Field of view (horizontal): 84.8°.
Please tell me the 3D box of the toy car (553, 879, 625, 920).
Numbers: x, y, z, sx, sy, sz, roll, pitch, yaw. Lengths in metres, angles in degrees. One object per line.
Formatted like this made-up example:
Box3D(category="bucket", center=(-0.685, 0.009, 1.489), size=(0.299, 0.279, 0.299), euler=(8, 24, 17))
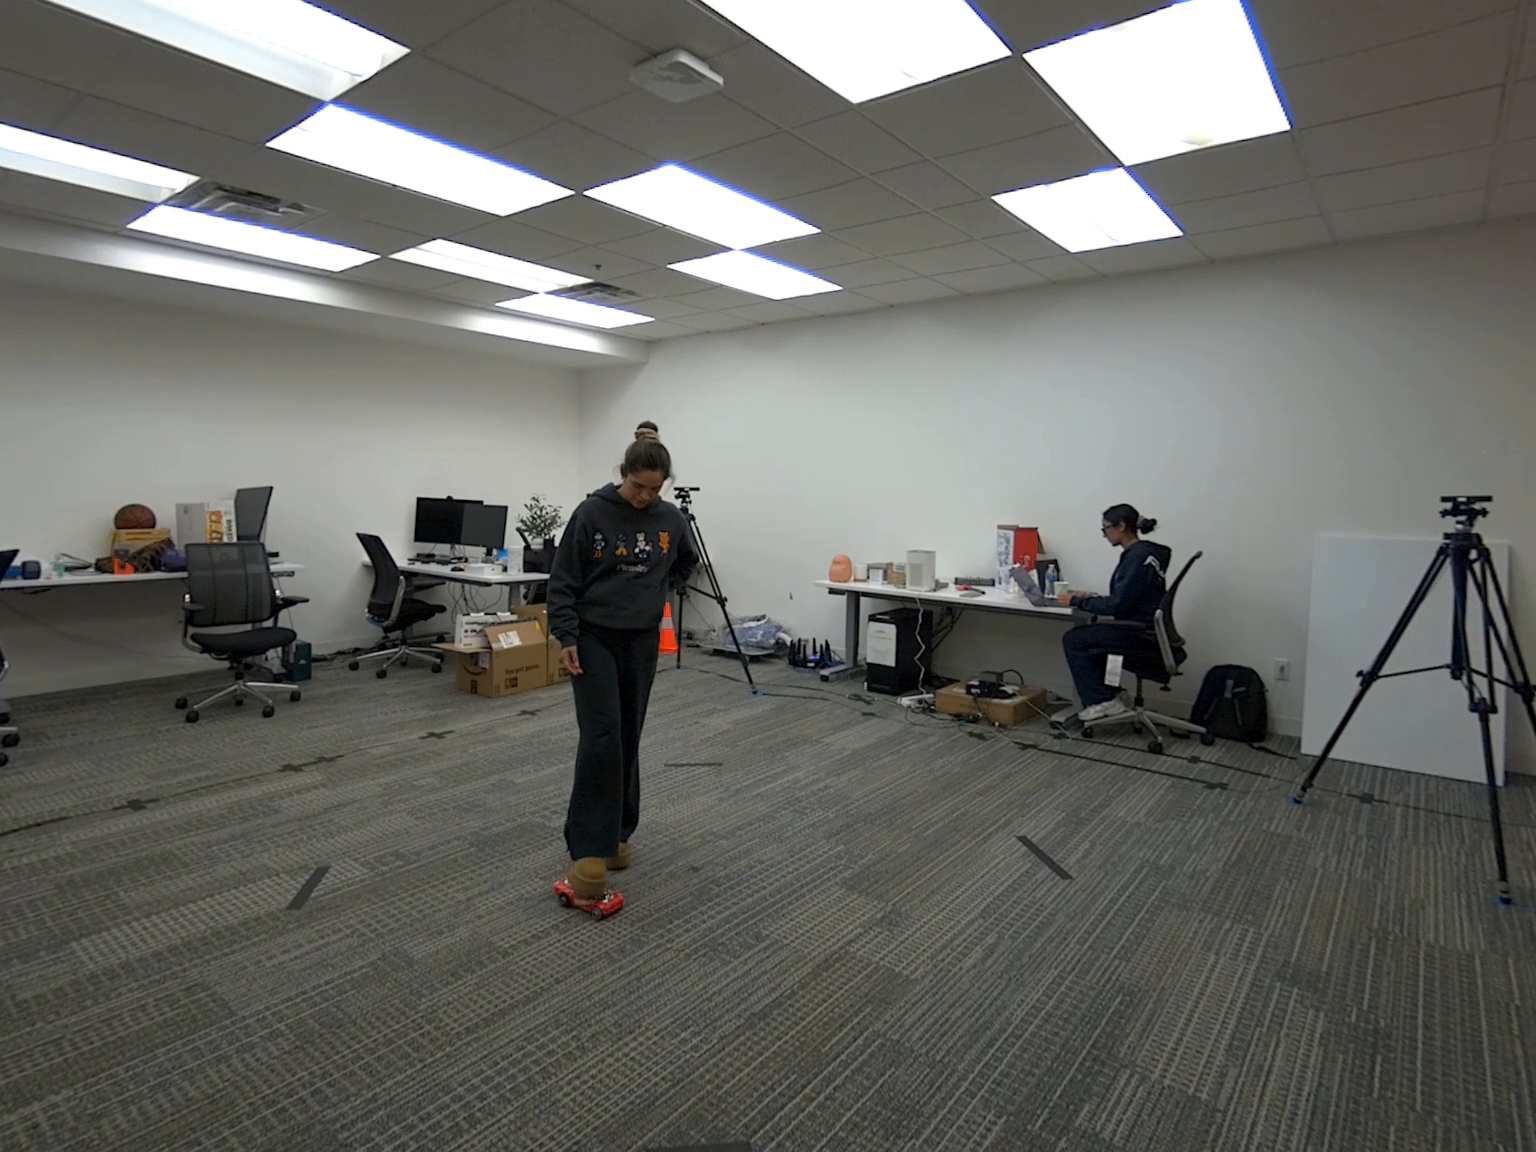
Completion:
Box3D(category="toy car", center=(-0.620, 1.059, 2.824), size=(0.264, 0.082, 0.127), euler=(16, 12, 32))
